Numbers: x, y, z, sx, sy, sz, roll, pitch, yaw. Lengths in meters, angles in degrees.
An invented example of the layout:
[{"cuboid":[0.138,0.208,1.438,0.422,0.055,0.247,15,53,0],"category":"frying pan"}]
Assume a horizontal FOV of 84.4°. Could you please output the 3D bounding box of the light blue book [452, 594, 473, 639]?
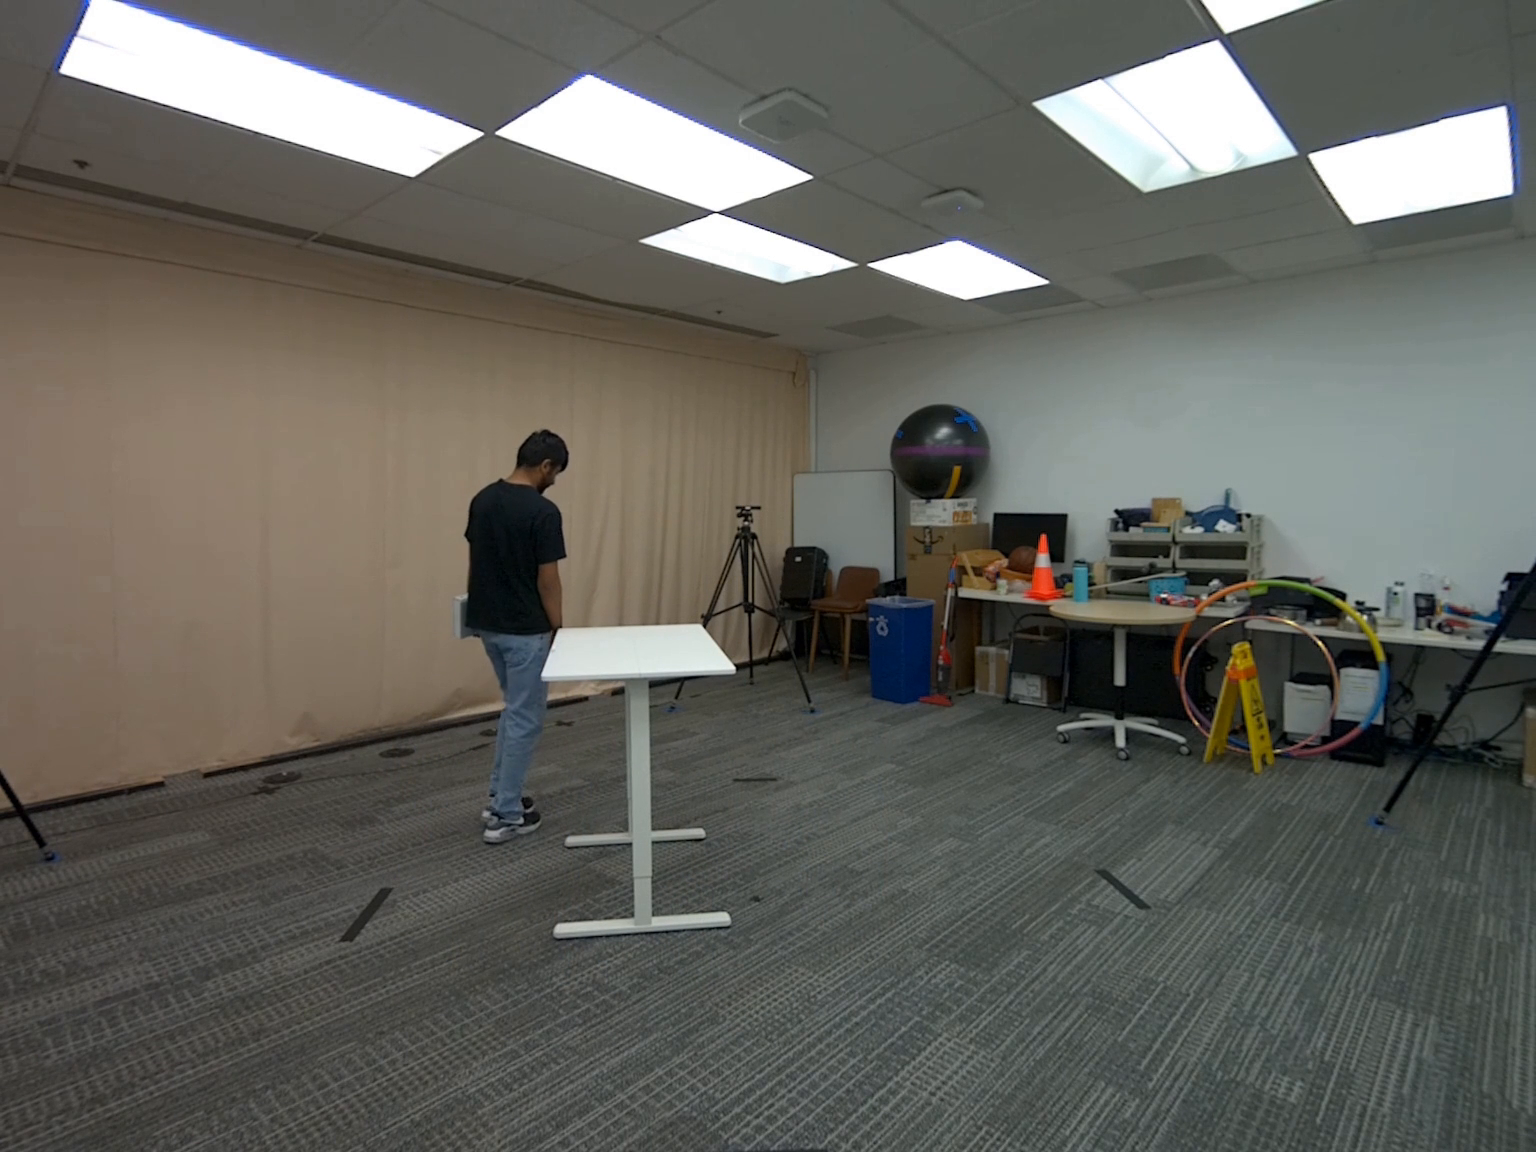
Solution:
[{"cuboid":[-1.252,0.153,3.702,0.061,0.190,0.254,19,22,32],"category":"light blue book"}]
